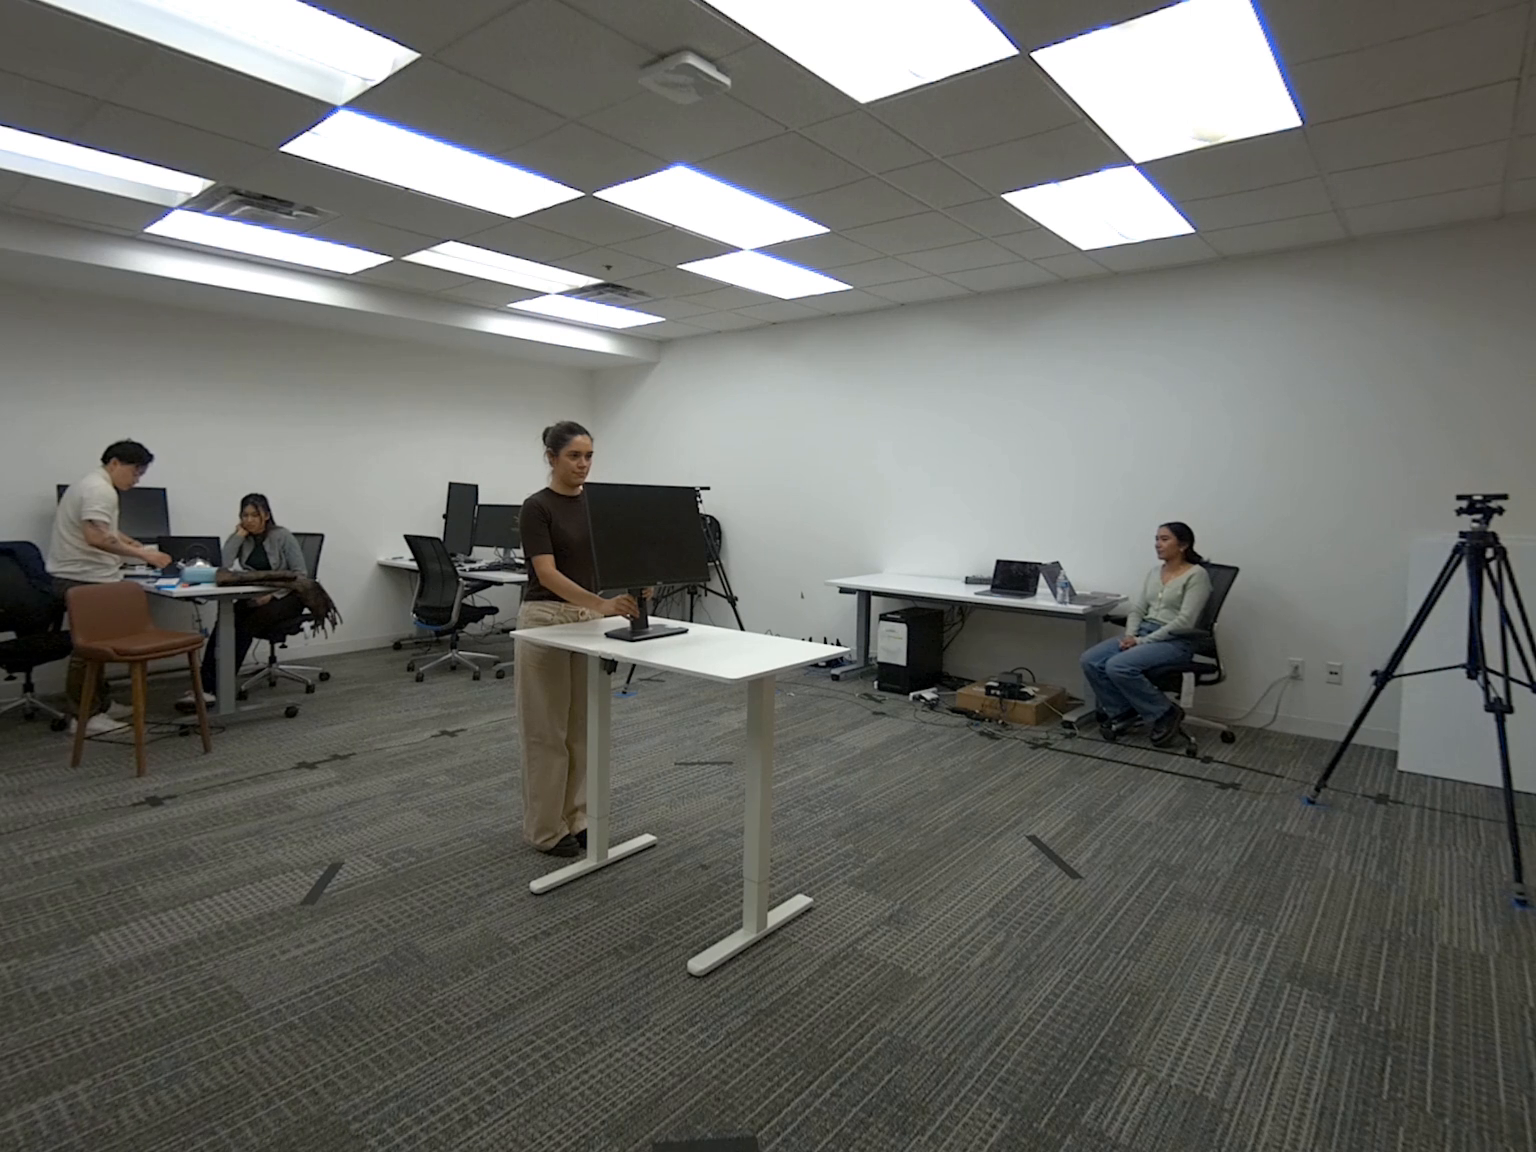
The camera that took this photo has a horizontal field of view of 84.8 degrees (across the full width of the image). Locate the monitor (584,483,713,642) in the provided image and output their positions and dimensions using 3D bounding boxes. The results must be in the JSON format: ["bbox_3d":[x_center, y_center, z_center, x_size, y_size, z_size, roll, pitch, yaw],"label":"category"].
[{"bbox_3d":[-0.428,-0.058,2.904,0.181,0.514,0.514,7,6,38],"label":"monitor"}]
